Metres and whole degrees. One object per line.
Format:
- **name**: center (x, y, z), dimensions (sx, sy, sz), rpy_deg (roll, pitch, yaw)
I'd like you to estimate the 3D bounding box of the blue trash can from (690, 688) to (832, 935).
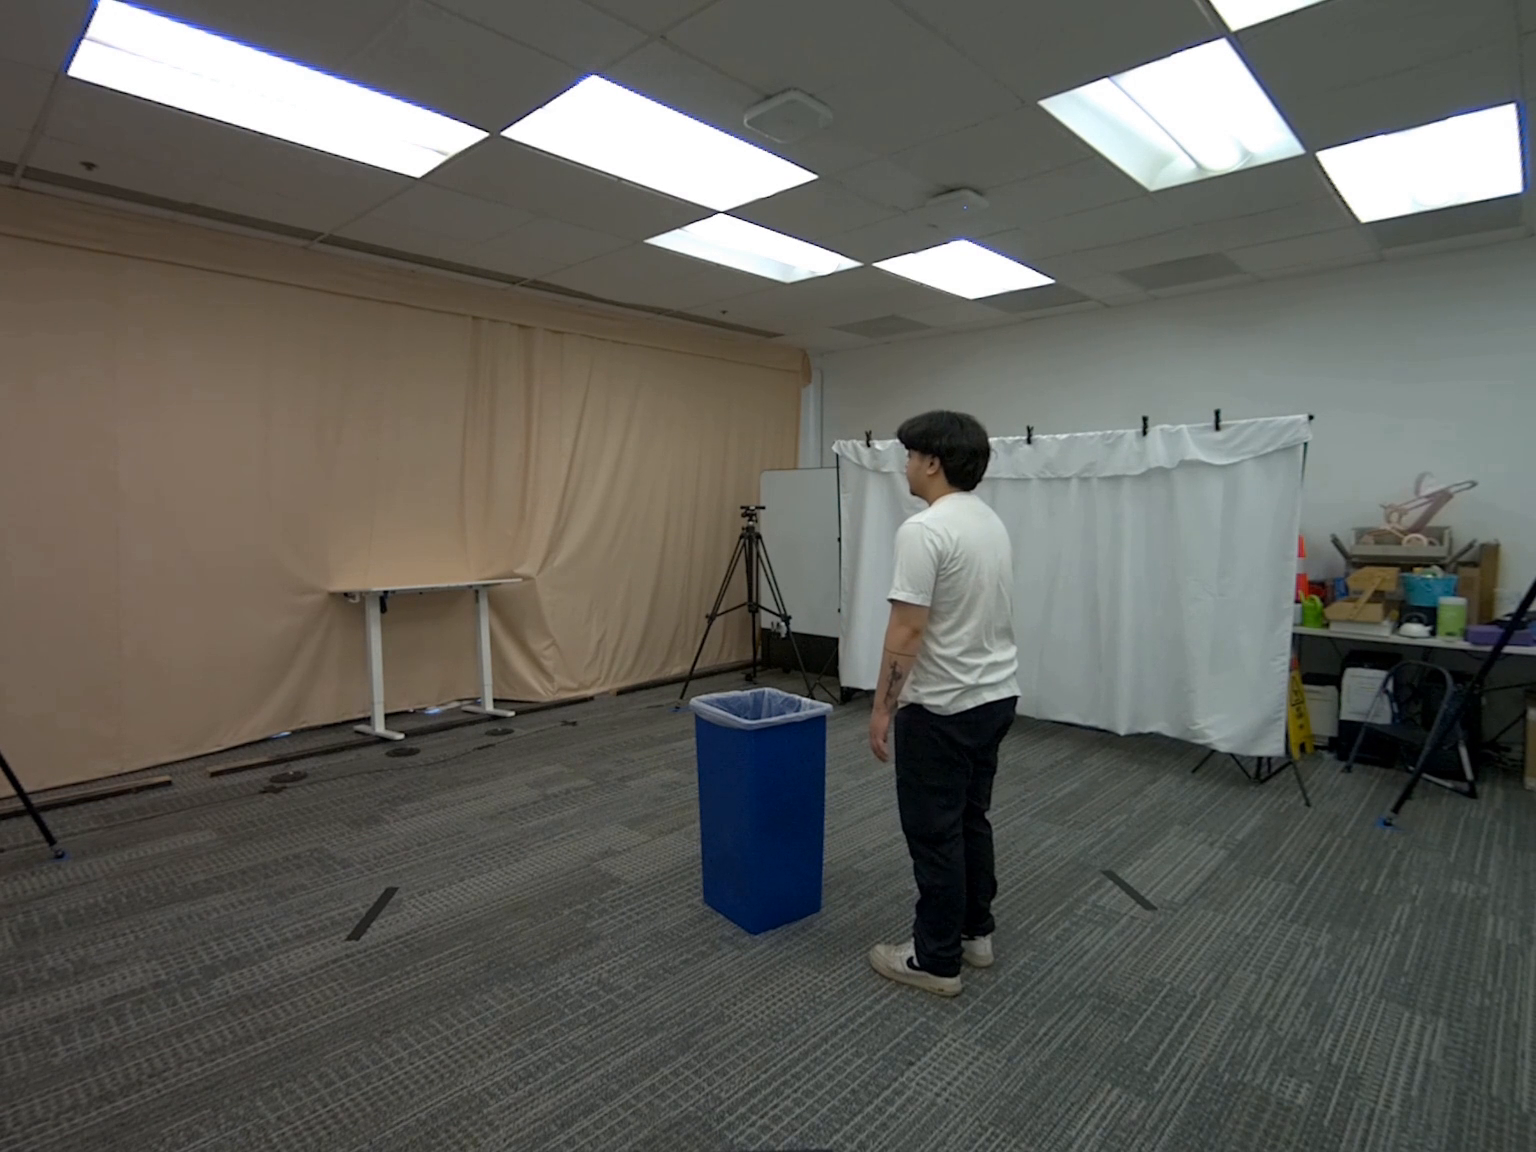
- **blue trash can**: center (-0.025, 0.792, 2.907), dimensions (0.363, 0.712, 0.390), rpy_deg (-2, 4, -37)
